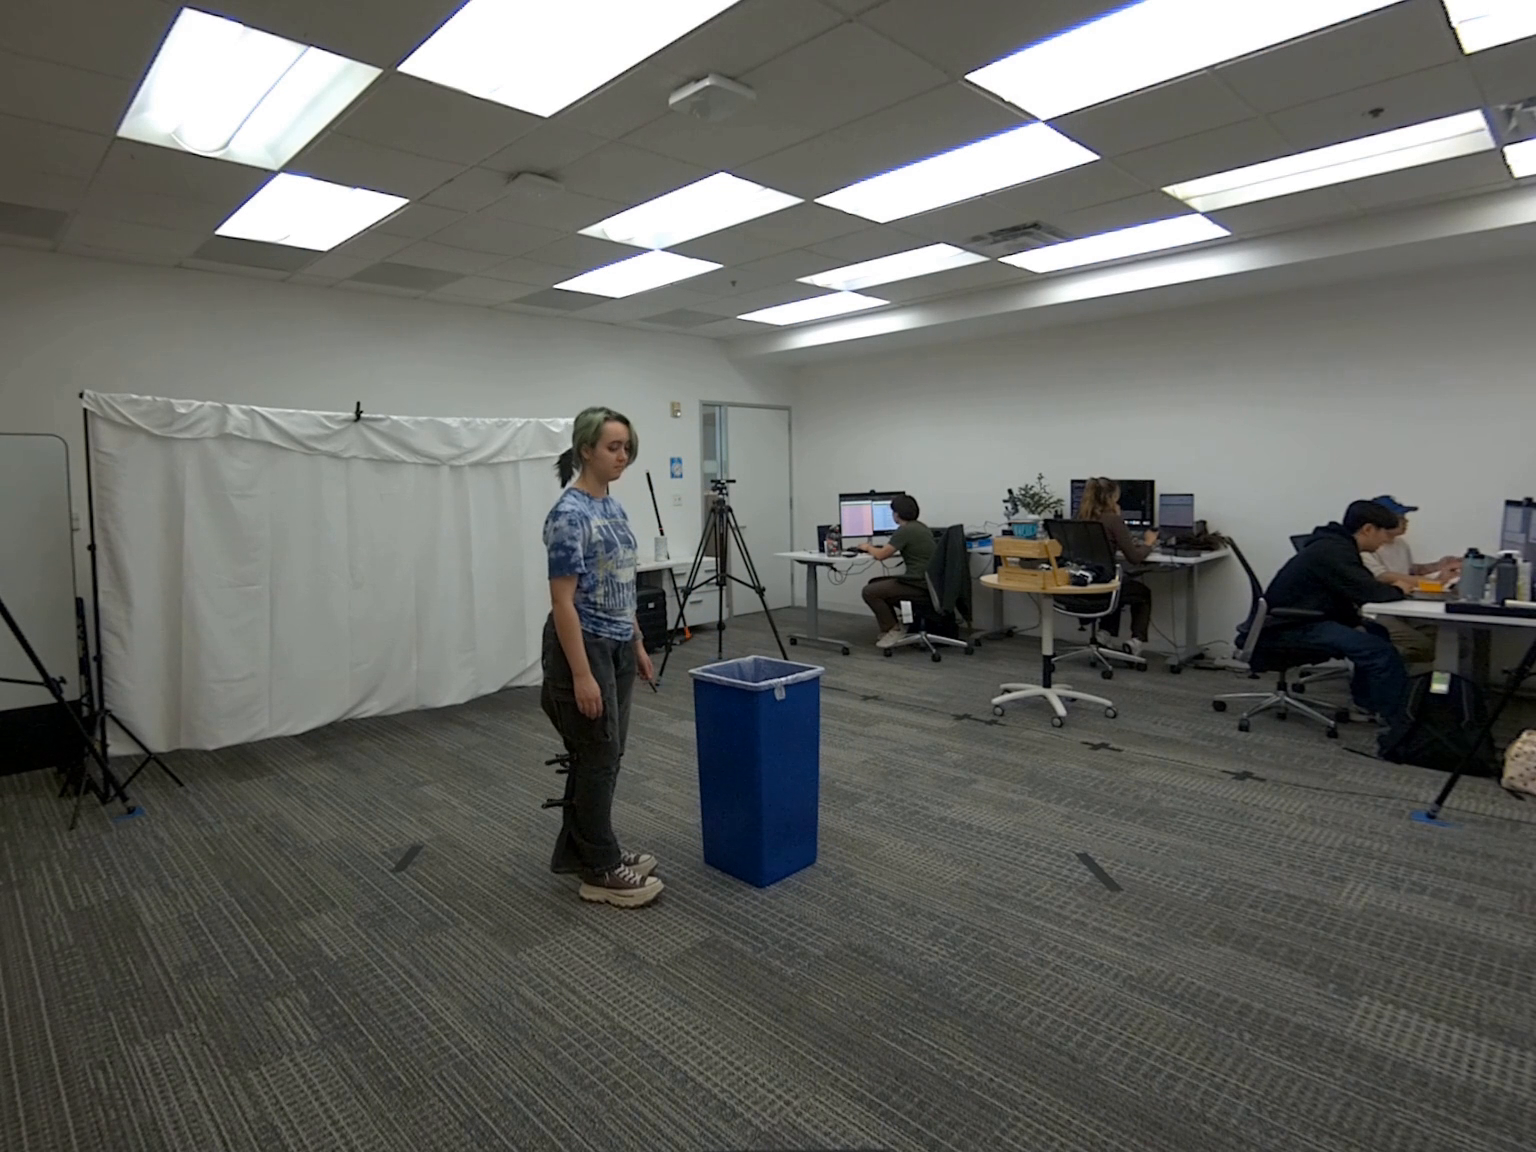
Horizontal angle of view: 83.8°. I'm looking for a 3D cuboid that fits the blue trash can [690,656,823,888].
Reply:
[{"bbox_3d":[-0.038,0.690,3.108,0.385,0.711,0.368,3,5,45],"label":"blue trash can"}]
